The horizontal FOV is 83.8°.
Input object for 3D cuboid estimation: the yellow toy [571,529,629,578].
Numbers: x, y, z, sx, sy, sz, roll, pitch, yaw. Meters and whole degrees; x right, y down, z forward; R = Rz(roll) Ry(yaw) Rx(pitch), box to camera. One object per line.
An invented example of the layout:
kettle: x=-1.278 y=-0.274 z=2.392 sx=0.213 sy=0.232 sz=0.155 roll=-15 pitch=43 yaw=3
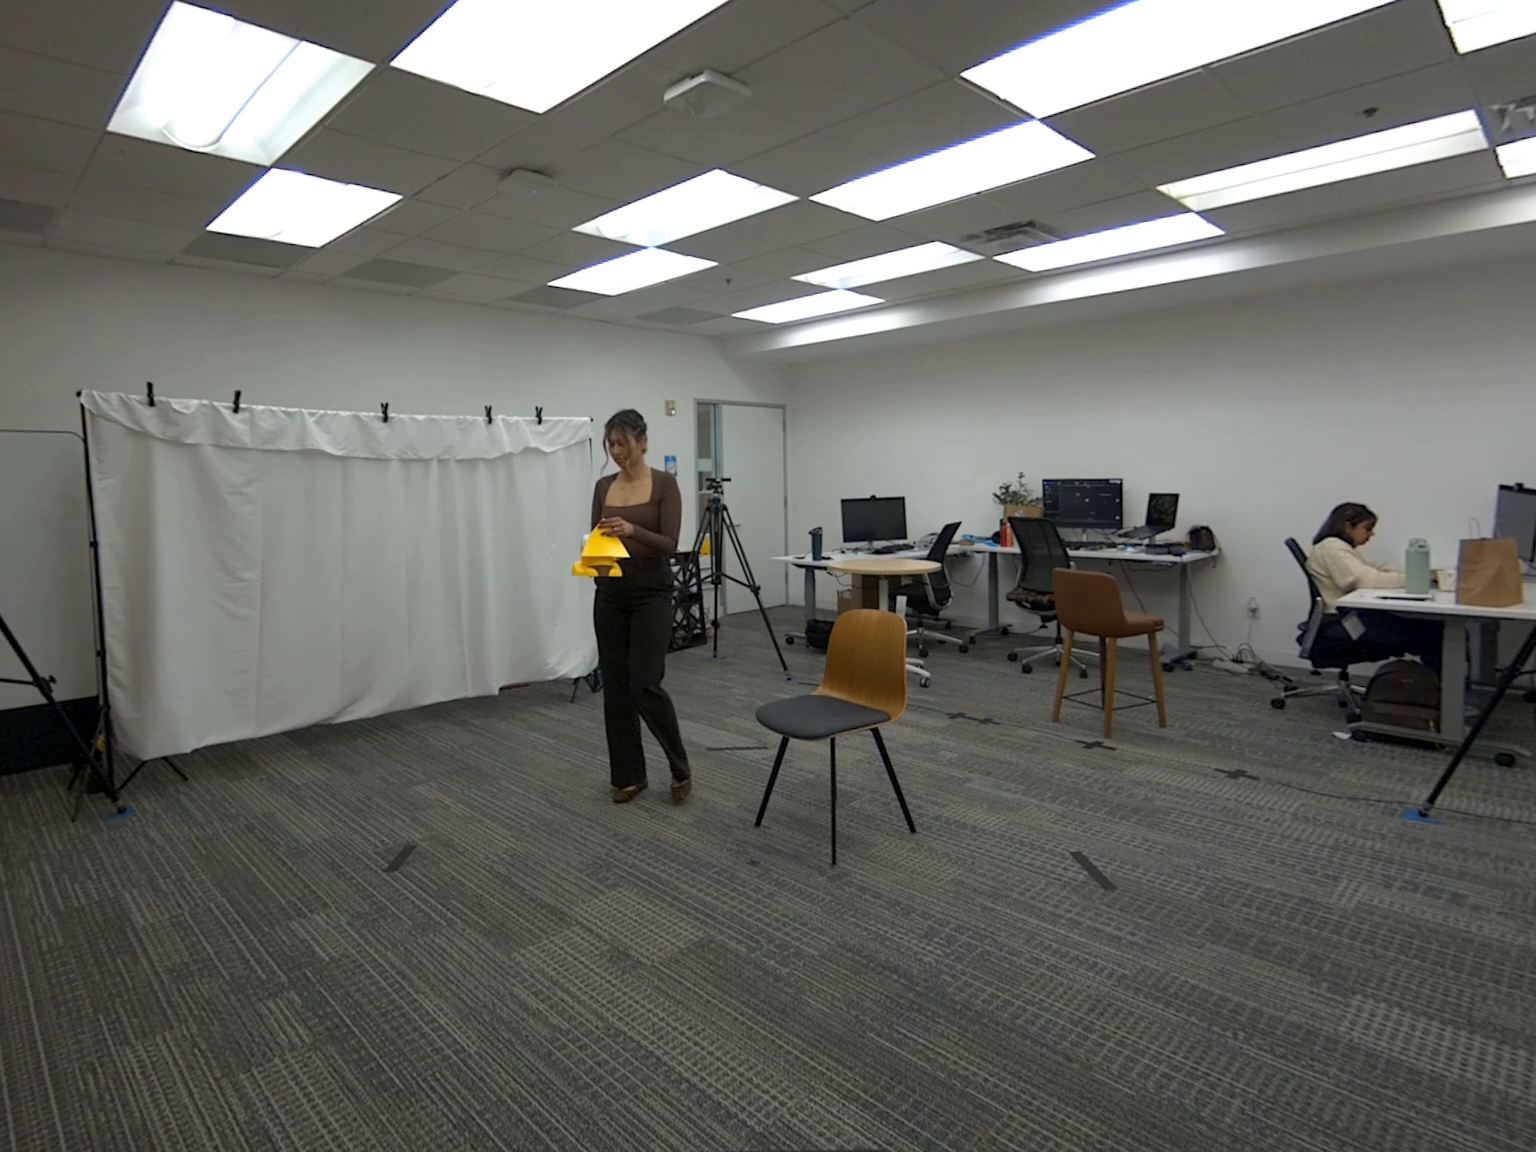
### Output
yellow toy: x=-0.708 y=-0.112 z=3.477 sx=0.199 sy=0.231 sz=0.198 roll=0 pitch=0 yaw=-32
